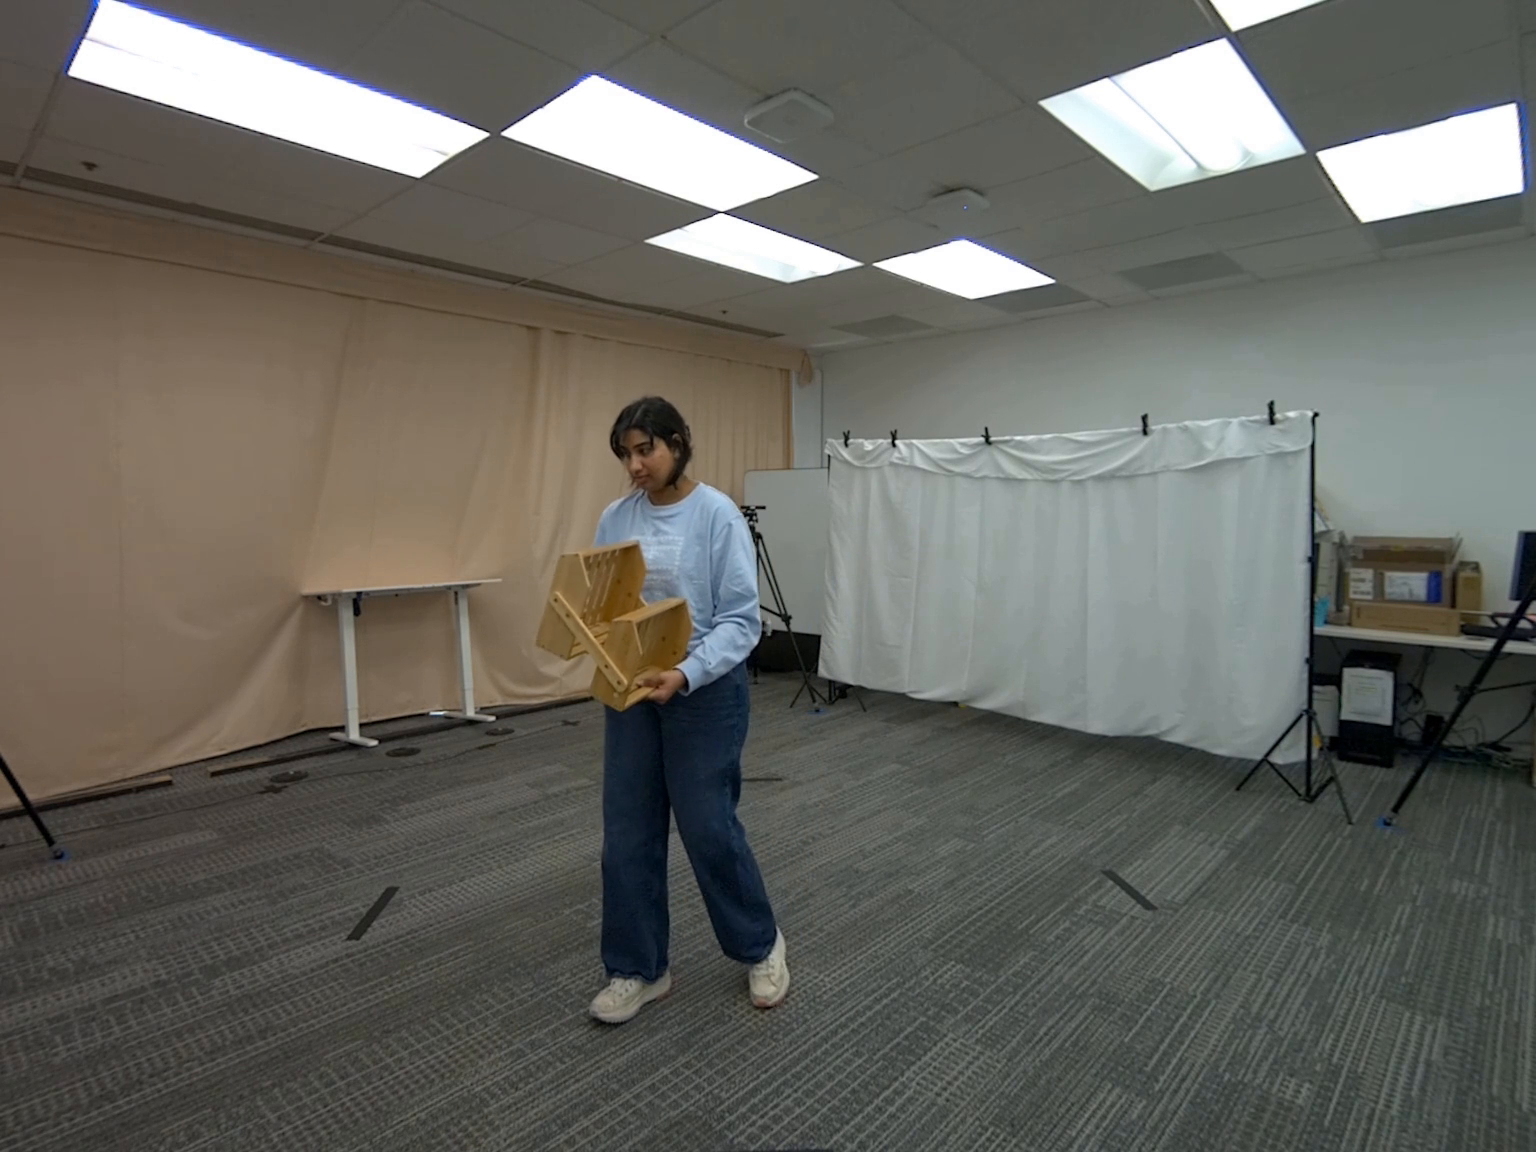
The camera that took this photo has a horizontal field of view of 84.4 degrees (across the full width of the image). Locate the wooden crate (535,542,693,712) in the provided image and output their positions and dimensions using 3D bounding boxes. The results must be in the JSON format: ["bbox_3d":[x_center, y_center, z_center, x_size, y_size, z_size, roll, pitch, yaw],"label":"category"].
[{"bbox_3d":[-0.332,0.101,2.049,0.279,0.301,0.319,23,13,14],"label":"wooden crate"}]
